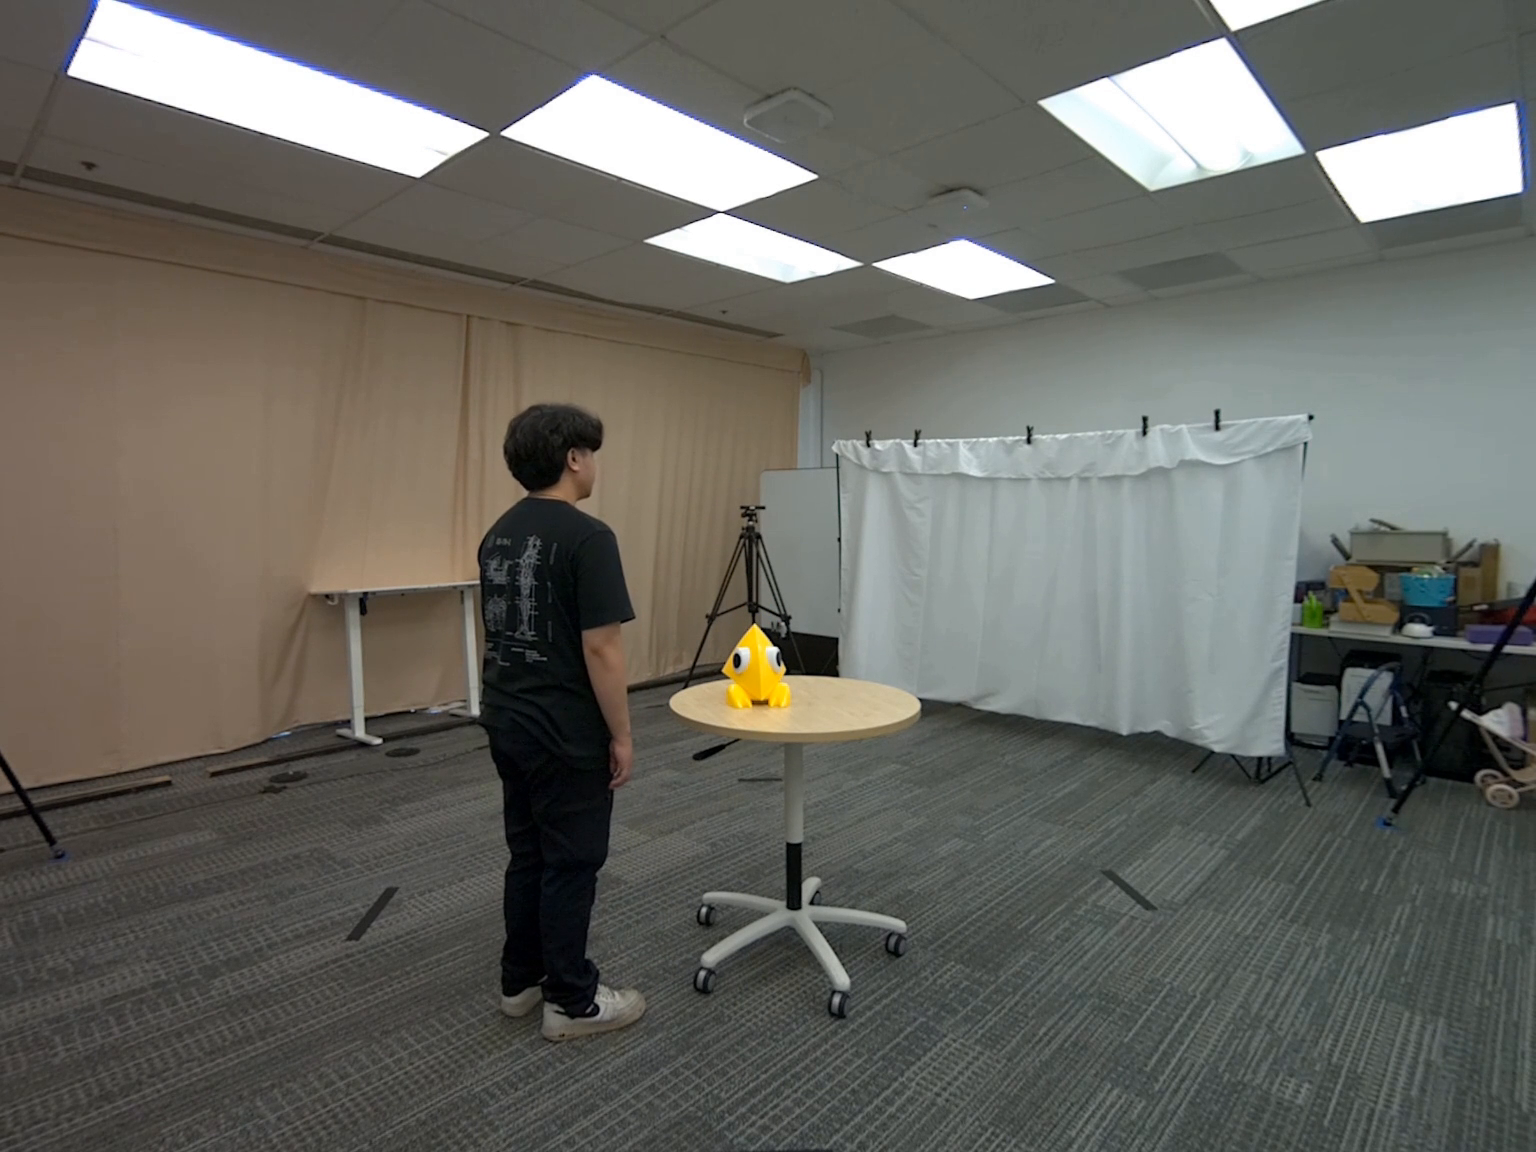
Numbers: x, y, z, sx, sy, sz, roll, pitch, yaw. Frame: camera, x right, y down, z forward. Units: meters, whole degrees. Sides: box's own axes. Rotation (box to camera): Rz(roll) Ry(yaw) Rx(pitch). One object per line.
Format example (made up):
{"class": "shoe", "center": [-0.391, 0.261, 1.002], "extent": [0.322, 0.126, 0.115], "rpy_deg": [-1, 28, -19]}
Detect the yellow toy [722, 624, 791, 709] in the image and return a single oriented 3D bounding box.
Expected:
{"class": "yellow toy", "center": [-0.024, 0.271, 2.582], "extent": [0.203, 0.230, 0.194], "rpy_deg": [0, 3, -7]}
